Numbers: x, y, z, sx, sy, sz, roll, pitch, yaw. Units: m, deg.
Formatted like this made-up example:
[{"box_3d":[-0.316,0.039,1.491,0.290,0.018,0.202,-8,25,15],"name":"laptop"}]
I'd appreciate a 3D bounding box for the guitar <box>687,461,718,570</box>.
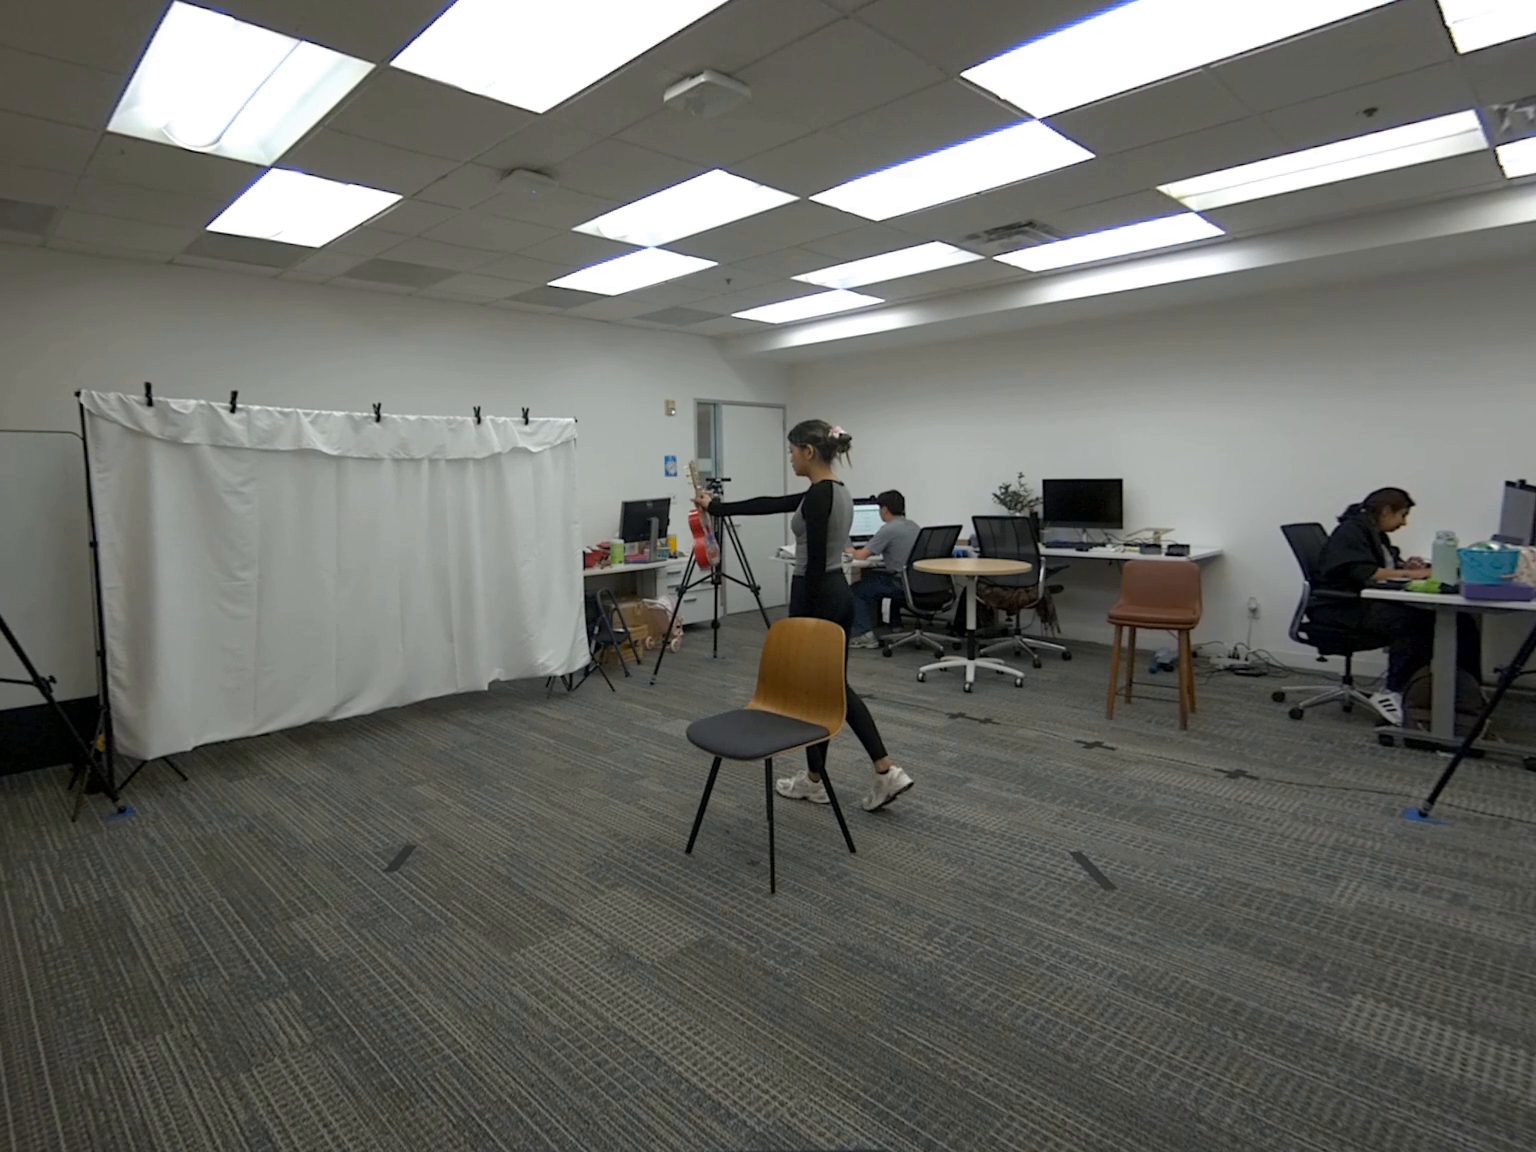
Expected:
[{"box_3d":[-0.302,-0.279,3.988,0.071,0.501,0.189,-13,-5,15],"name":"guitar"}]
